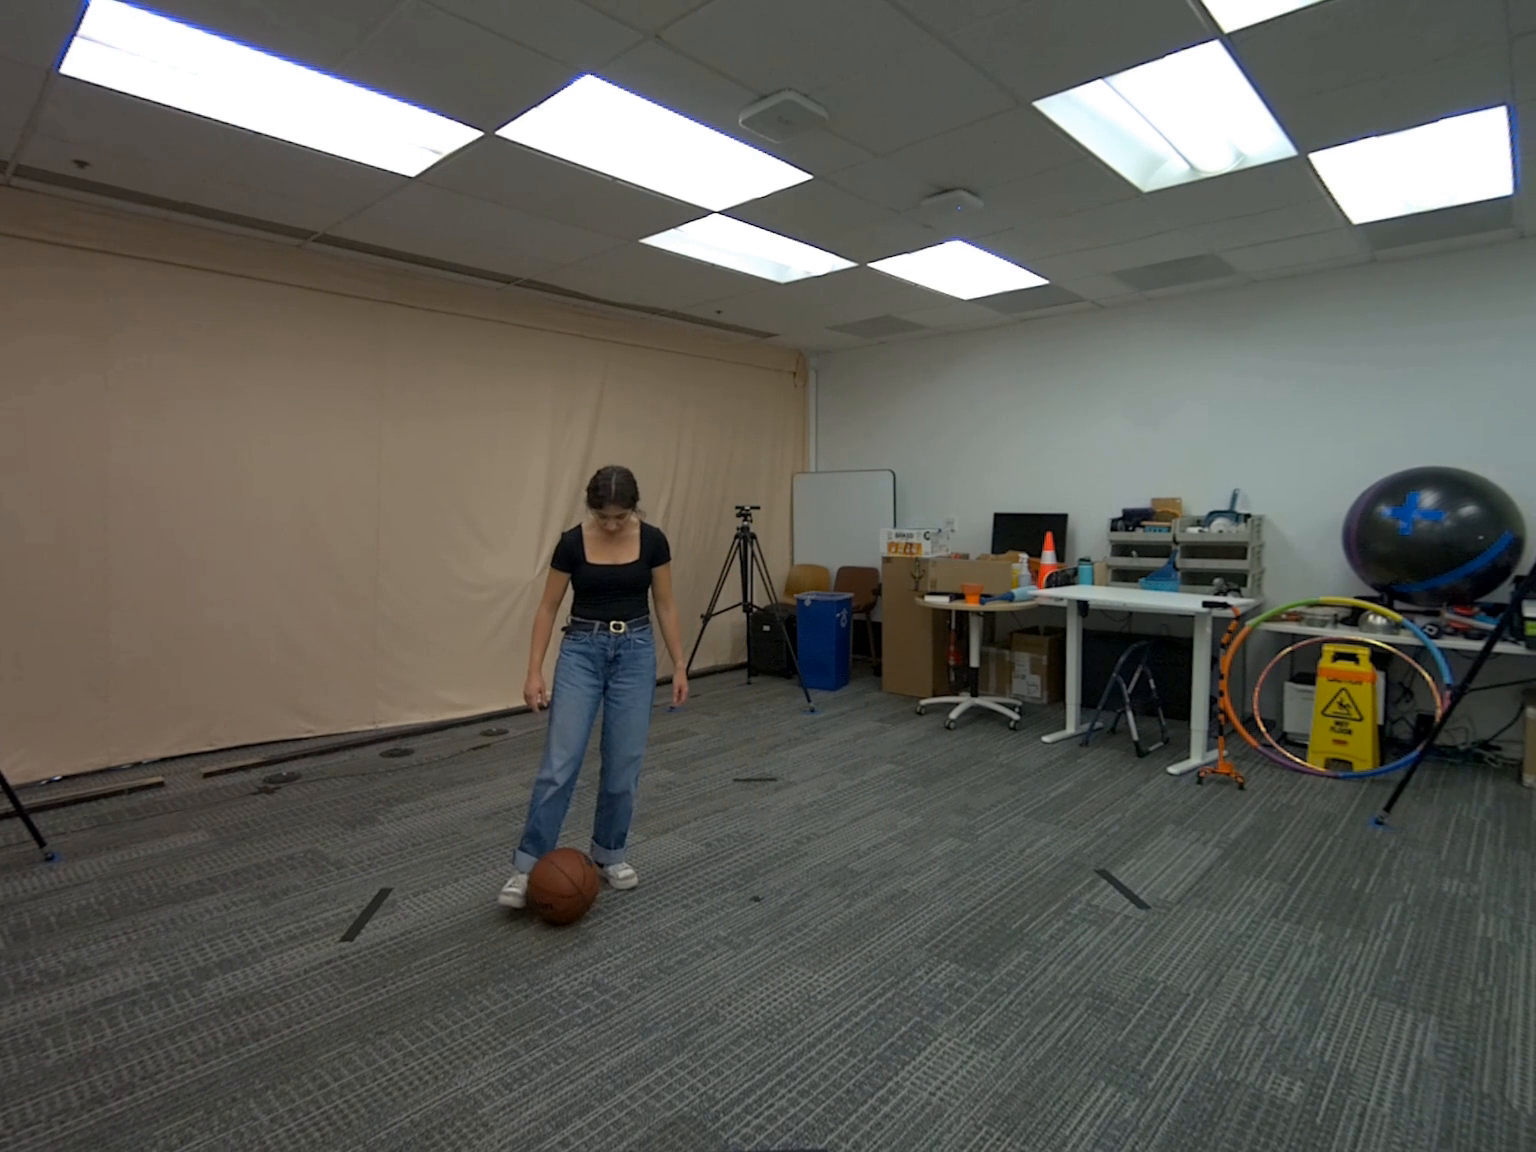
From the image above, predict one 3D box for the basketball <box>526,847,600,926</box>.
[{"bbox_3d":[-0.682,1.036,2.836,0.236,0.235,0.237,0,4,-2],"label":"basketball"}]
